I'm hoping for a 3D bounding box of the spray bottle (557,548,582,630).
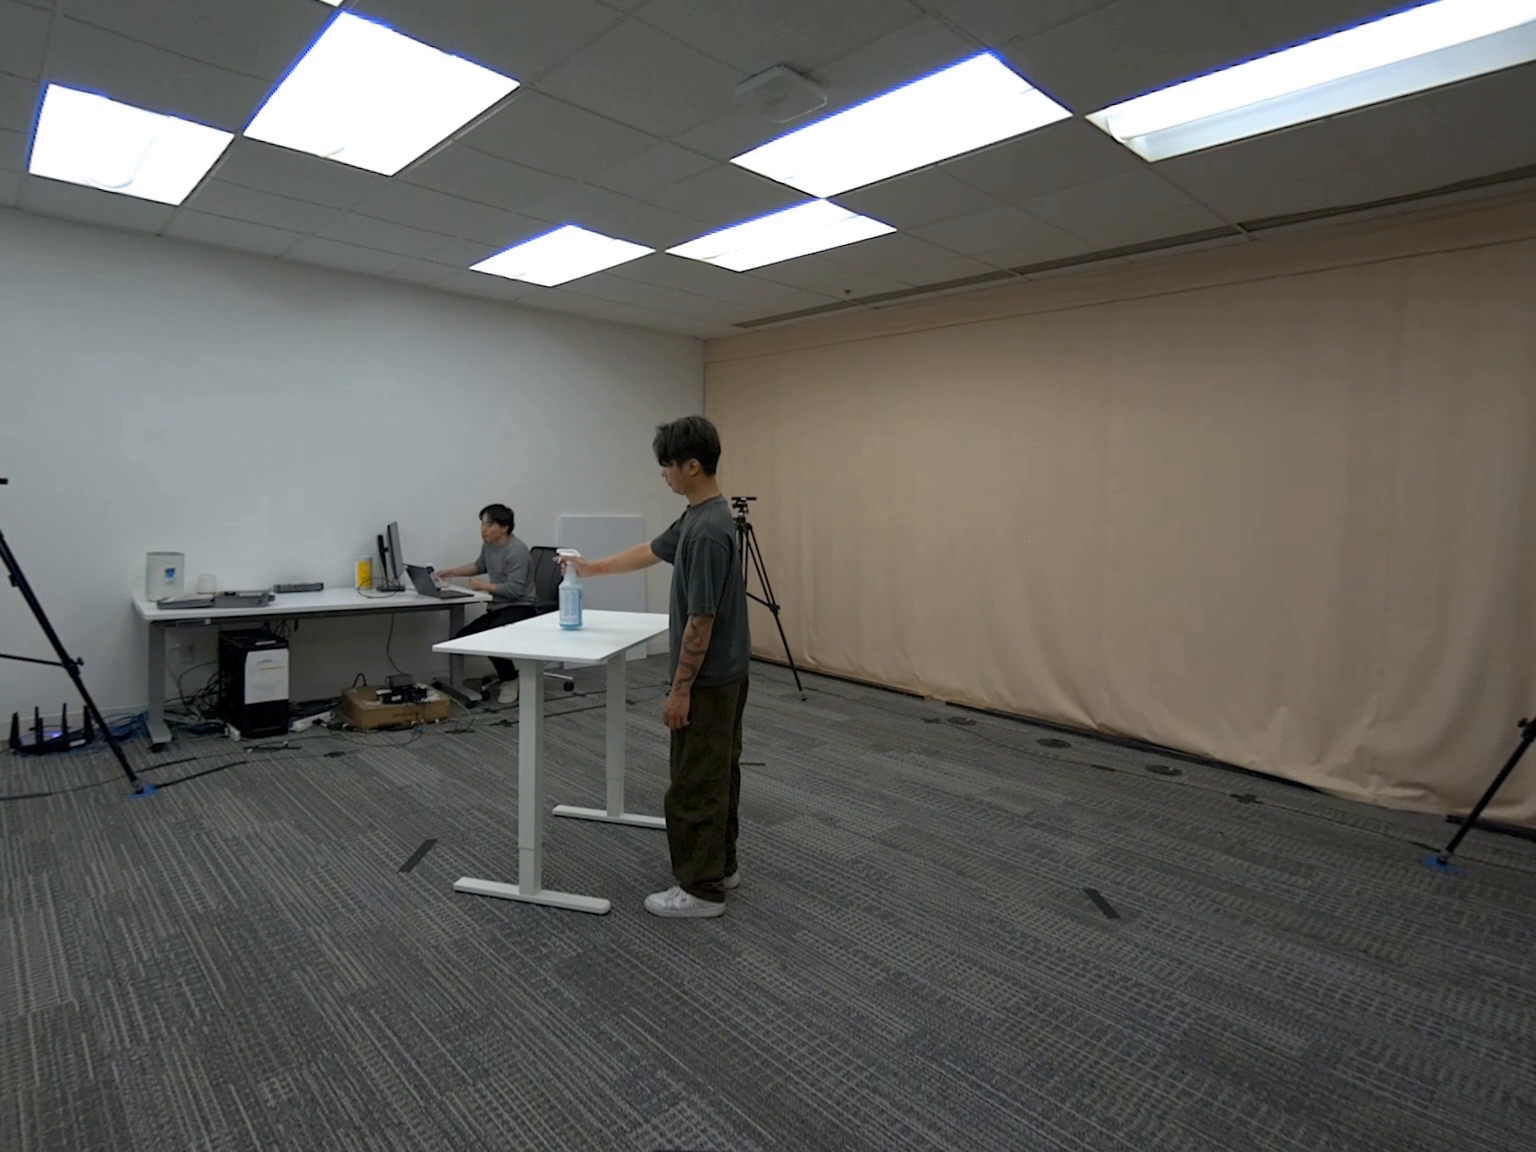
[{"bbox_3d":[-0.752,0.049,3.183,0.092,0.296,0.085,2,4,28],"label":"spray bottle"}]
